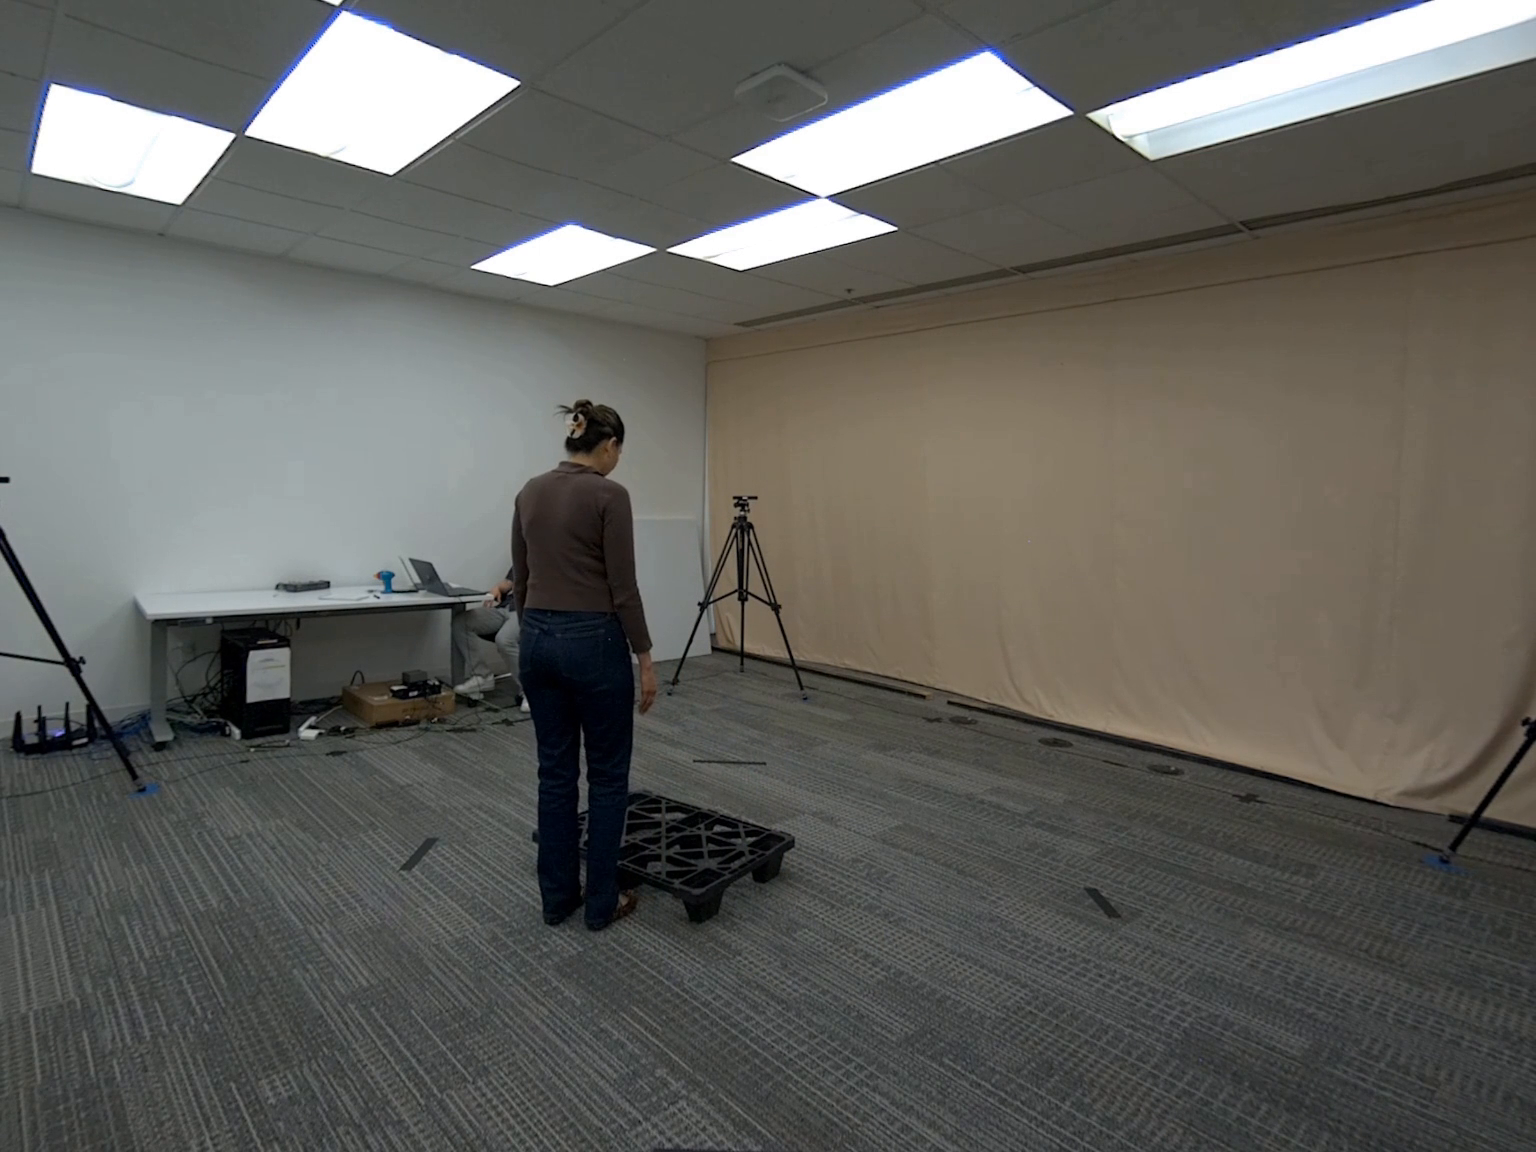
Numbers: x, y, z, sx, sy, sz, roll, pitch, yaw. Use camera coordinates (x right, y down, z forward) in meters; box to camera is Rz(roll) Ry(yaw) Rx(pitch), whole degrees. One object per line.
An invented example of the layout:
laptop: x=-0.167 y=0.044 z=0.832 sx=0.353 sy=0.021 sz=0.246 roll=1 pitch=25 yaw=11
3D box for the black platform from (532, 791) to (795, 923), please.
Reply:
black platform: x=-0.394 y=1.027 z=3.145 sx=0.825 sy=0.143 sz=0.592 roll=5 pitch=6 yaw=35
